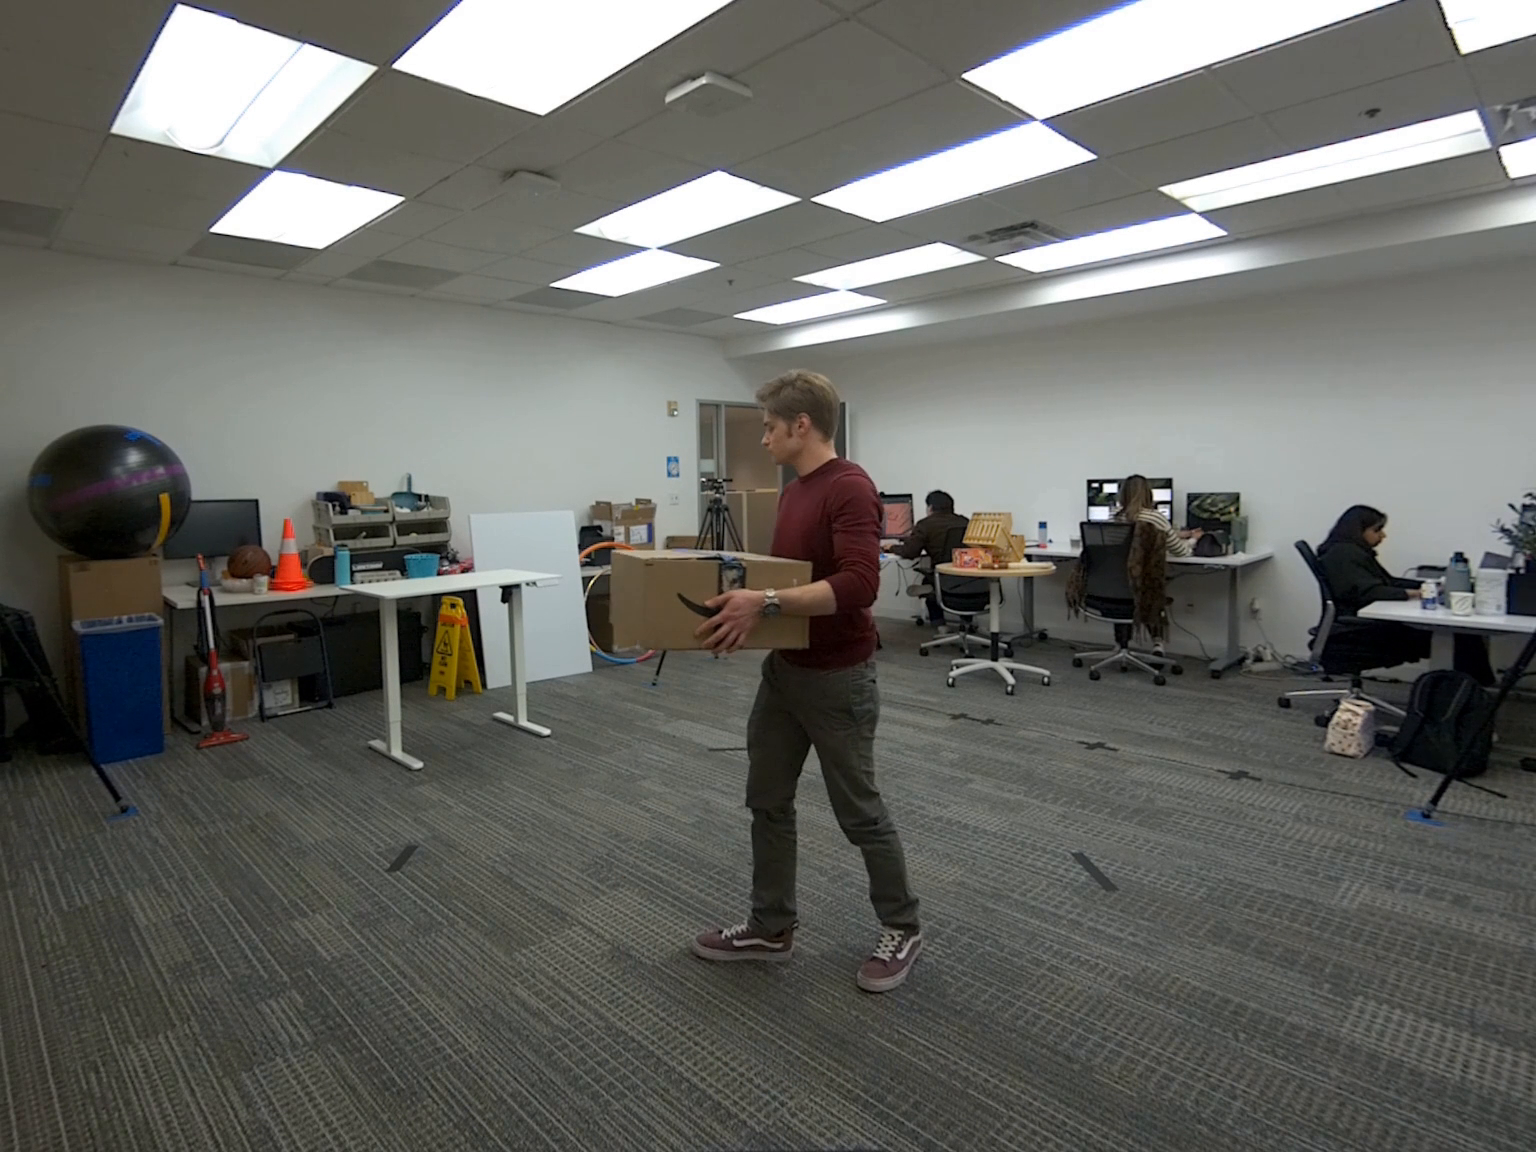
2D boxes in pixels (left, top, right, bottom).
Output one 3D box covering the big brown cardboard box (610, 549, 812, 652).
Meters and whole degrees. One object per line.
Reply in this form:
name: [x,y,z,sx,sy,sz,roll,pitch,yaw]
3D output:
big brown cardboard box: [-0.178,0.046,2.309,0.411,0.233,0.599,0,3,-17]
